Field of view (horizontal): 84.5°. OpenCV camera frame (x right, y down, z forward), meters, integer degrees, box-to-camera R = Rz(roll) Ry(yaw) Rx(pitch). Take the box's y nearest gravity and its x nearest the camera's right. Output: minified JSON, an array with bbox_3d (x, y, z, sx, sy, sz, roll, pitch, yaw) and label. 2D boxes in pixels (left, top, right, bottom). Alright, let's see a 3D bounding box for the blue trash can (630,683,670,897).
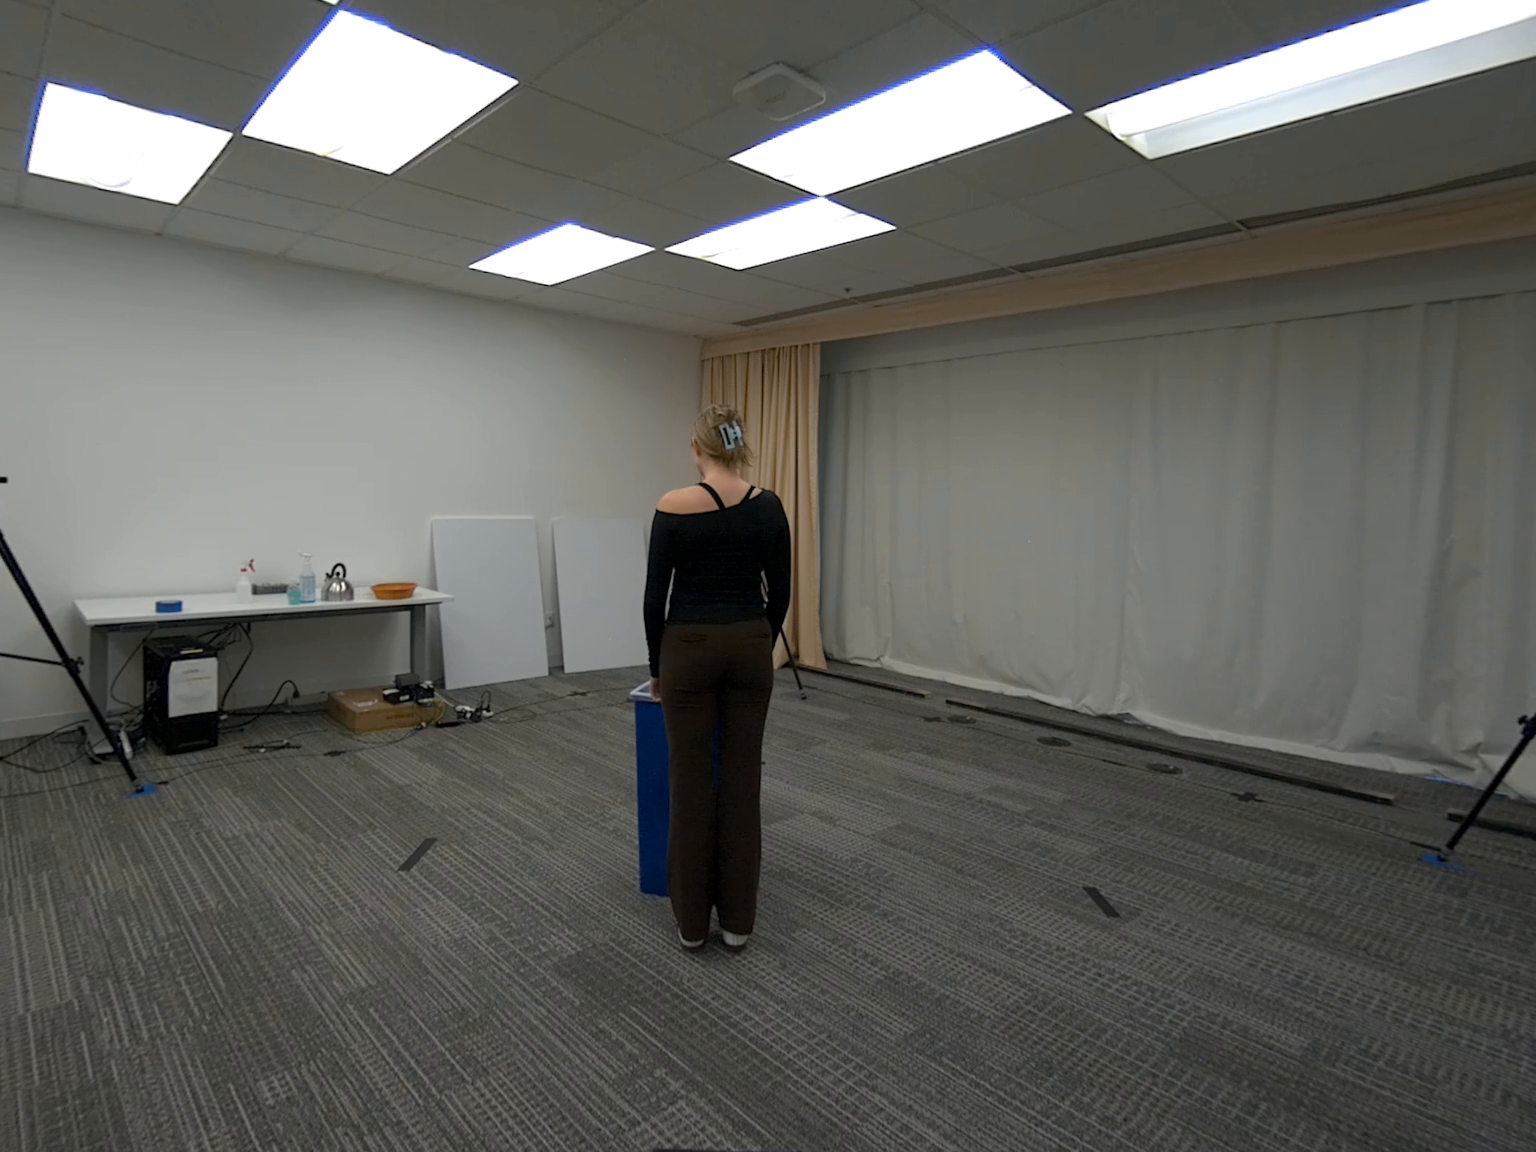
[{"bbox_3d":[-0.277,0.750,3.028,0.379,0.712,0.374,2,3,15],"label":"blue trash can"}]
